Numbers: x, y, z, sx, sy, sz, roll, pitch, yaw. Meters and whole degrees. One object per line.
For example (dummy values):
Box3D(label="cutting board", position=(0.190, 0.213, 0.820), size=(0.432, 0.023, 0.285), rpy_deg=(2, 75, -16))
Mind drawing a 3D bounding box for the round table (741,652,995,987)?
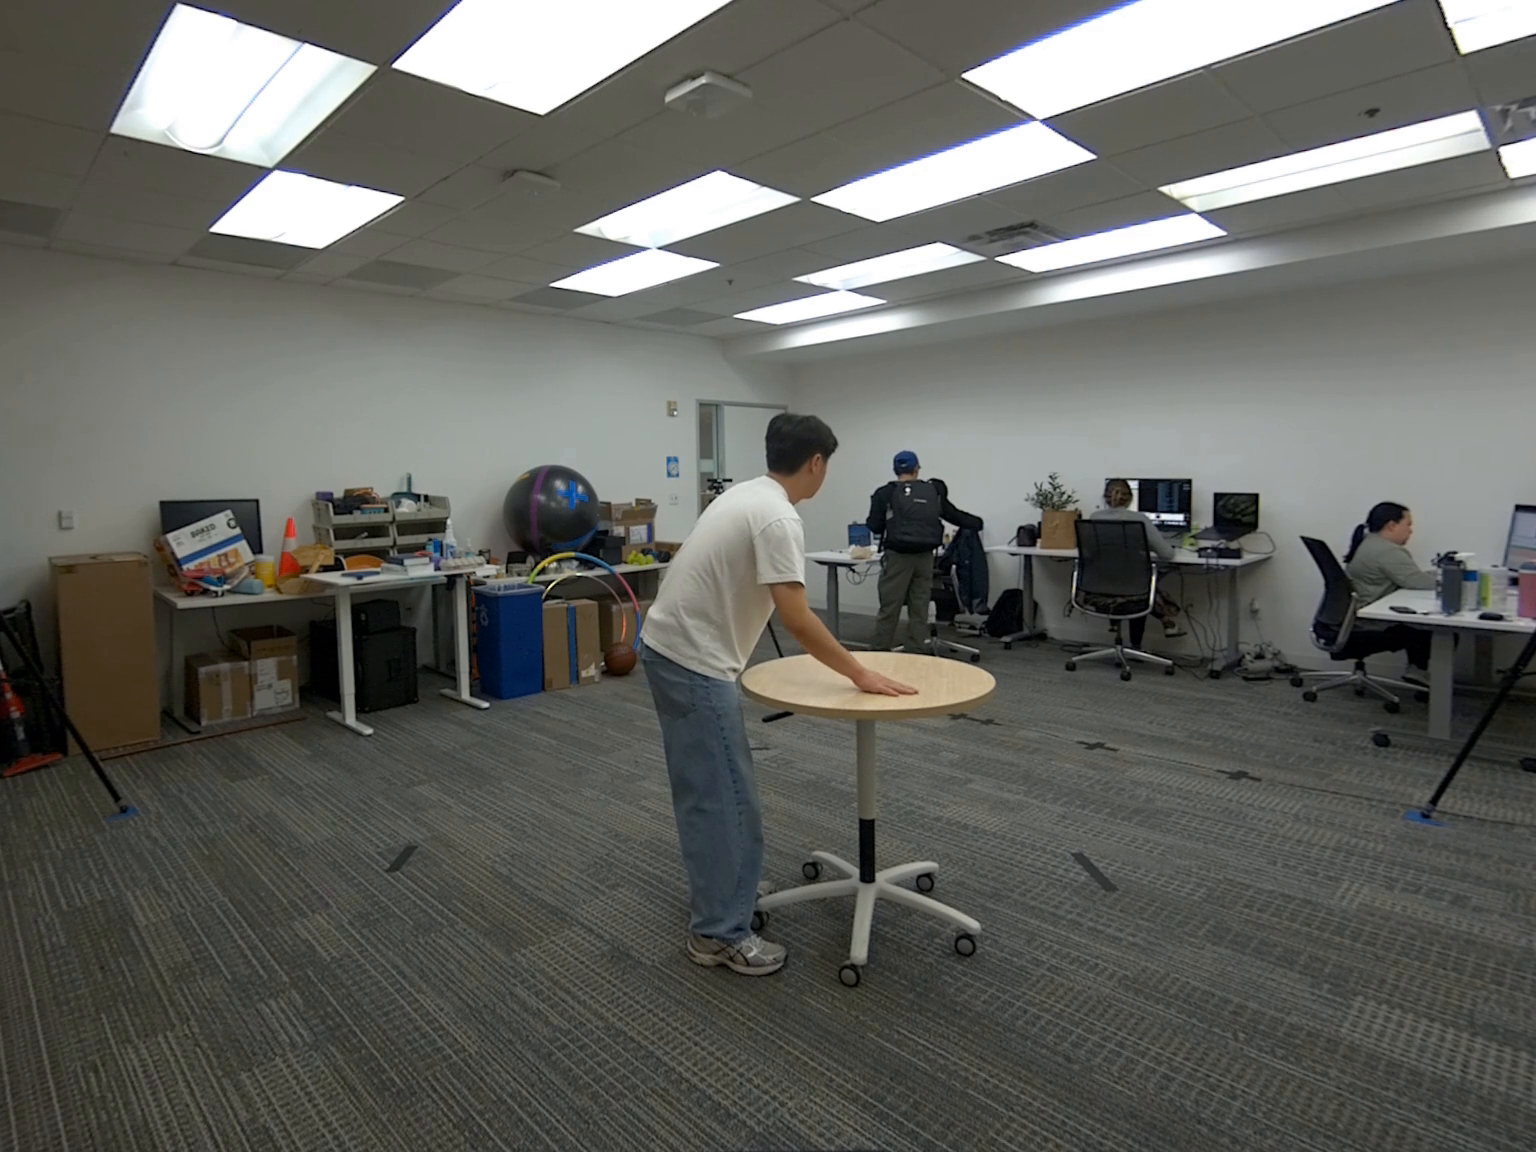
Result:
Box3D(label="round table", position=(0.308, 0.698, 2.660), size=(0.763, 0.791, 0.768), rpy_deg=(-1, 5, -2))
